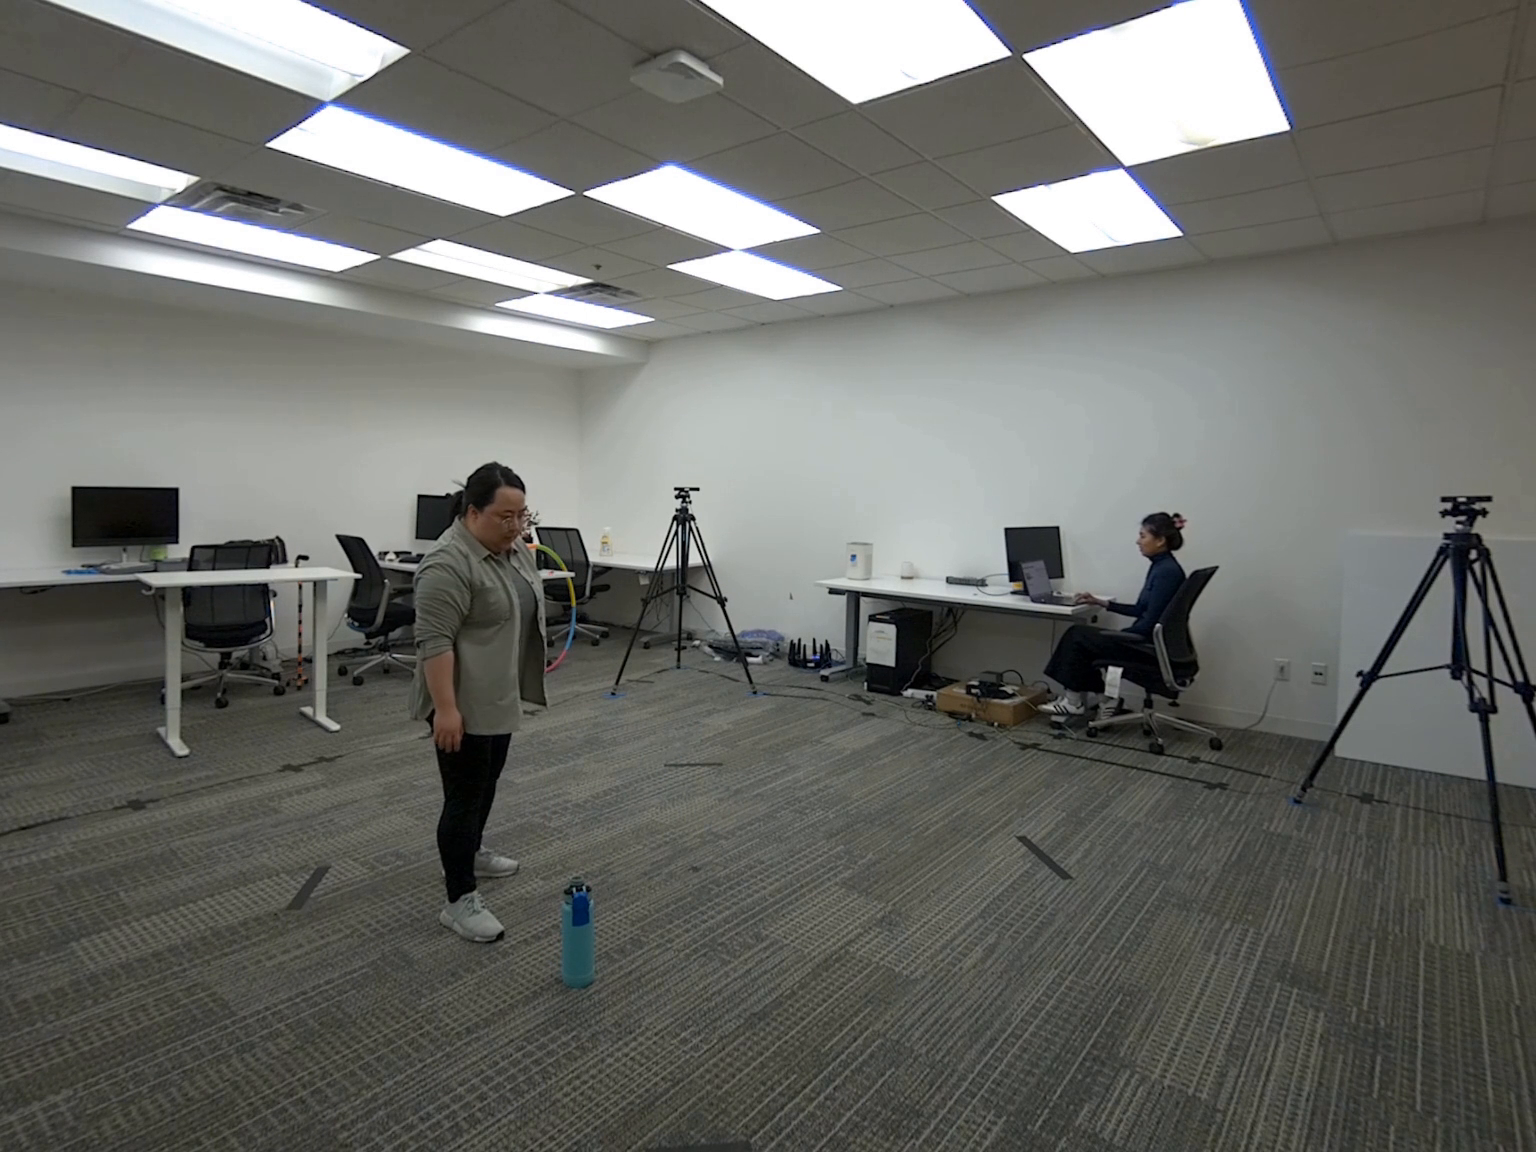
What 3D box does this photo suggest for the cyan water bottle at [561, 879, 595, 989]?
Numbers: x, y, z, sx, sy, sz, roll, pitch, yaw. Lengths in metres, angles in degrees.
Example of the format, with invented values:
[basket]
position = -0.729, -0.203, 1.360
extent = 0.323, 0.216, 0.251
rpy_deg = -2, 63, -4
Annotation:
[cyan water bottle]
position = -0.542, 0.995, 2.384
extent = 0.092, 0.282, 0.093
rpy_deg = 1, 4, -2
